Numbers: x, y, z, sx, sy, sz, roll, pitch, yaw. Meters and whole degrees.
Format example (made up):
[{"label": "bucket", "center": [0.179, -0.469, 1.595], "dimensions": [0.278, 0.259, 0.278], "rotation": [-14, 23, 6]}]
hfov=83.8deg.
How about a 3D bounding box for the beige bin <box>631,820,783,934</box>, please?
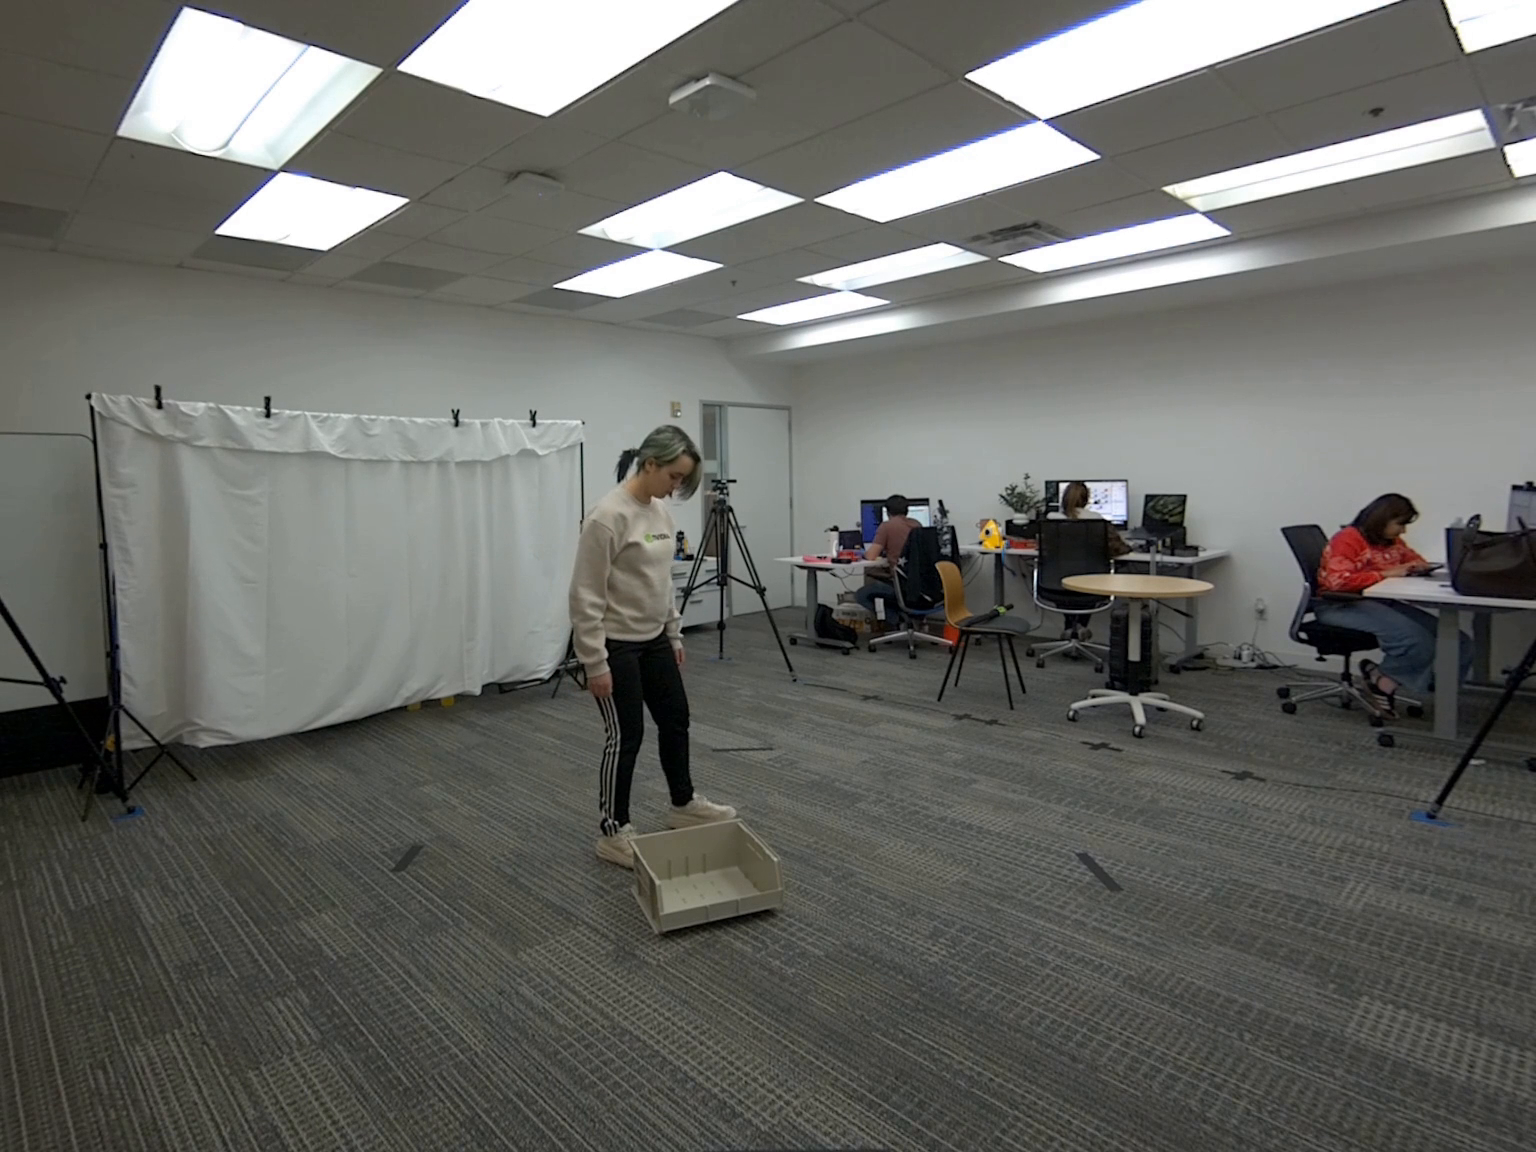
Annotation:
[{"label": "beige bin", "center": [-0.208, 0.996, 2.824], "dimensions": [0.415, 0.188, 0.386], "rotation": [-4, 6, -22]}]
